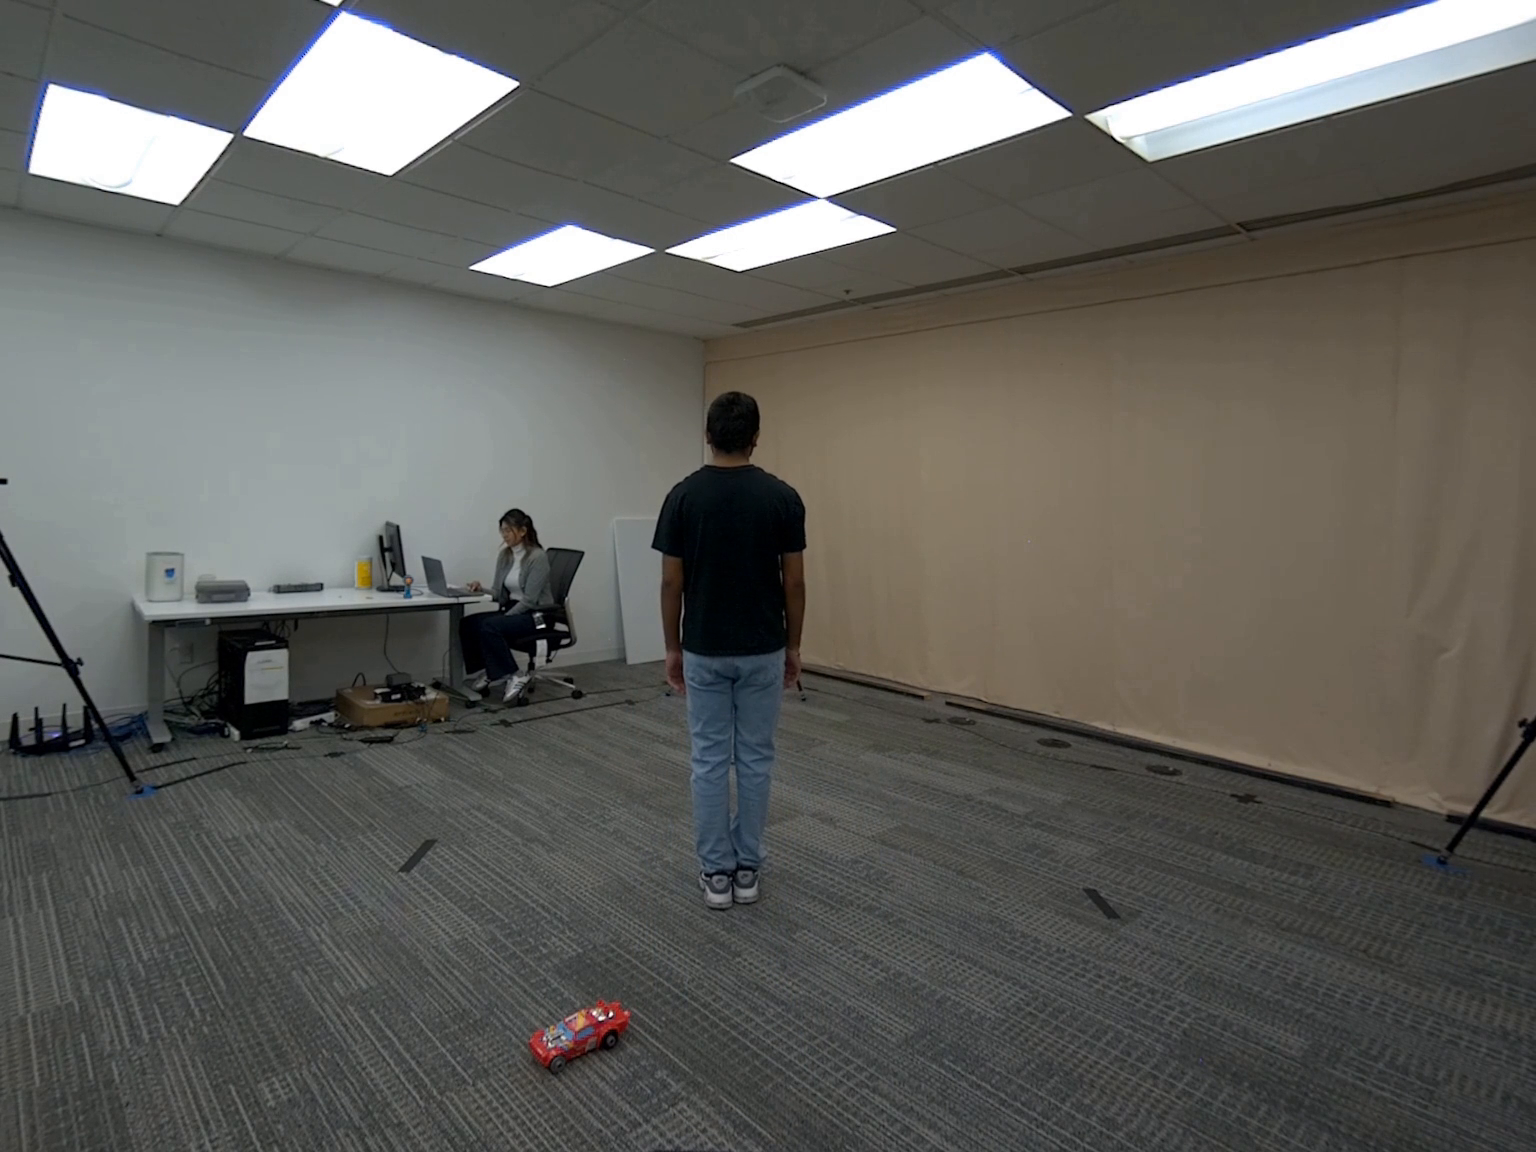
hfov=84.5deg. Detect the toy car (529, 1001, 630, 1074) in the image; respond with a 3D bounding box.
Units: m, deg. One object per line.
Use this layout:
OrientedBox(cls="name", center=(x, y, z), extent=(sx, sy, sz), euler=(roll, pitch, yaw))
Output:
OrientedBox(cls="toy car", center=(-0.477, 1.162, 2.116), extent=(0.250, 0.082, 0.133), euler=(-16, 14, -38))
